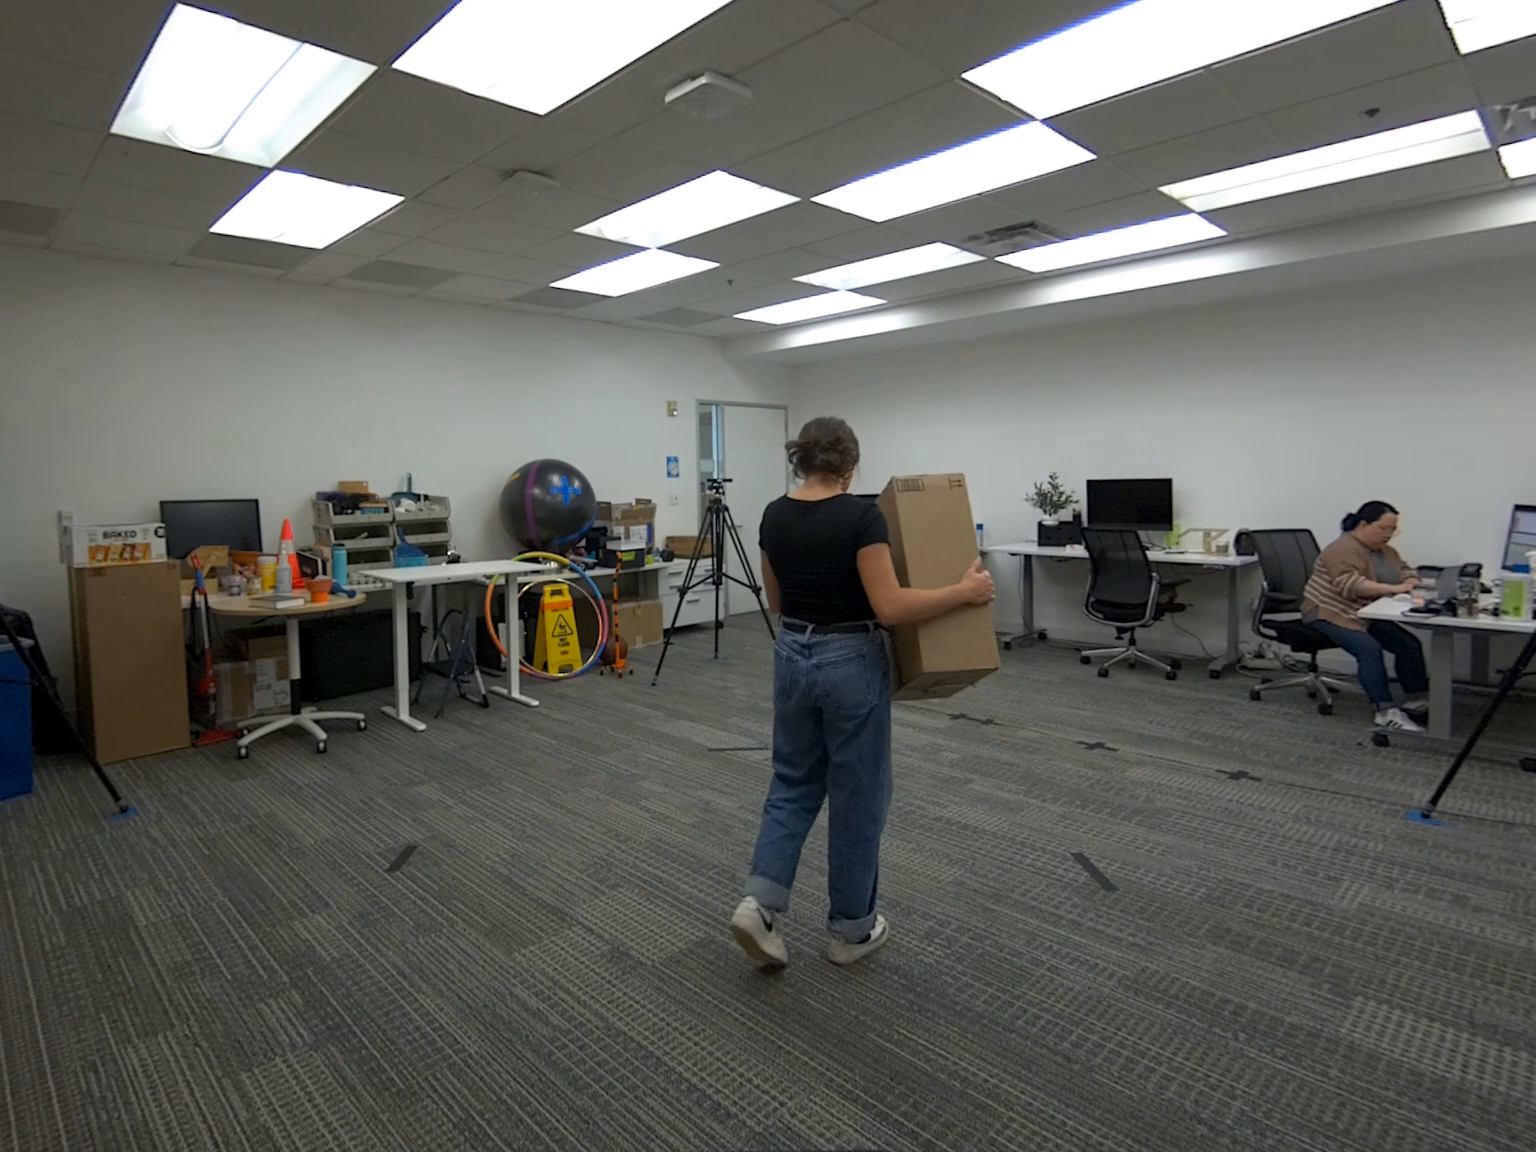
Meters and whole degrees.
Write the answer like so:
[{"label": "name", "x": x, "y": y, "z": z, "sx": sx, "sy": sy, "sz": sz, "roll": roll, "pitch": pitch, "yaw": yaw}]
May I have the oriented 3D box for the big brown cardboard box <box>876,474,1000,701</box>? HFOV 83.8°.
[{"label": "big brown cardboard box", "x": 0.459, "y": 0.044, "z": 2.520, "sx": 0.232, "sy": 0.600, "sz": 0.413, "roll": -2, "pitch": -18, "yaw": -8}]
